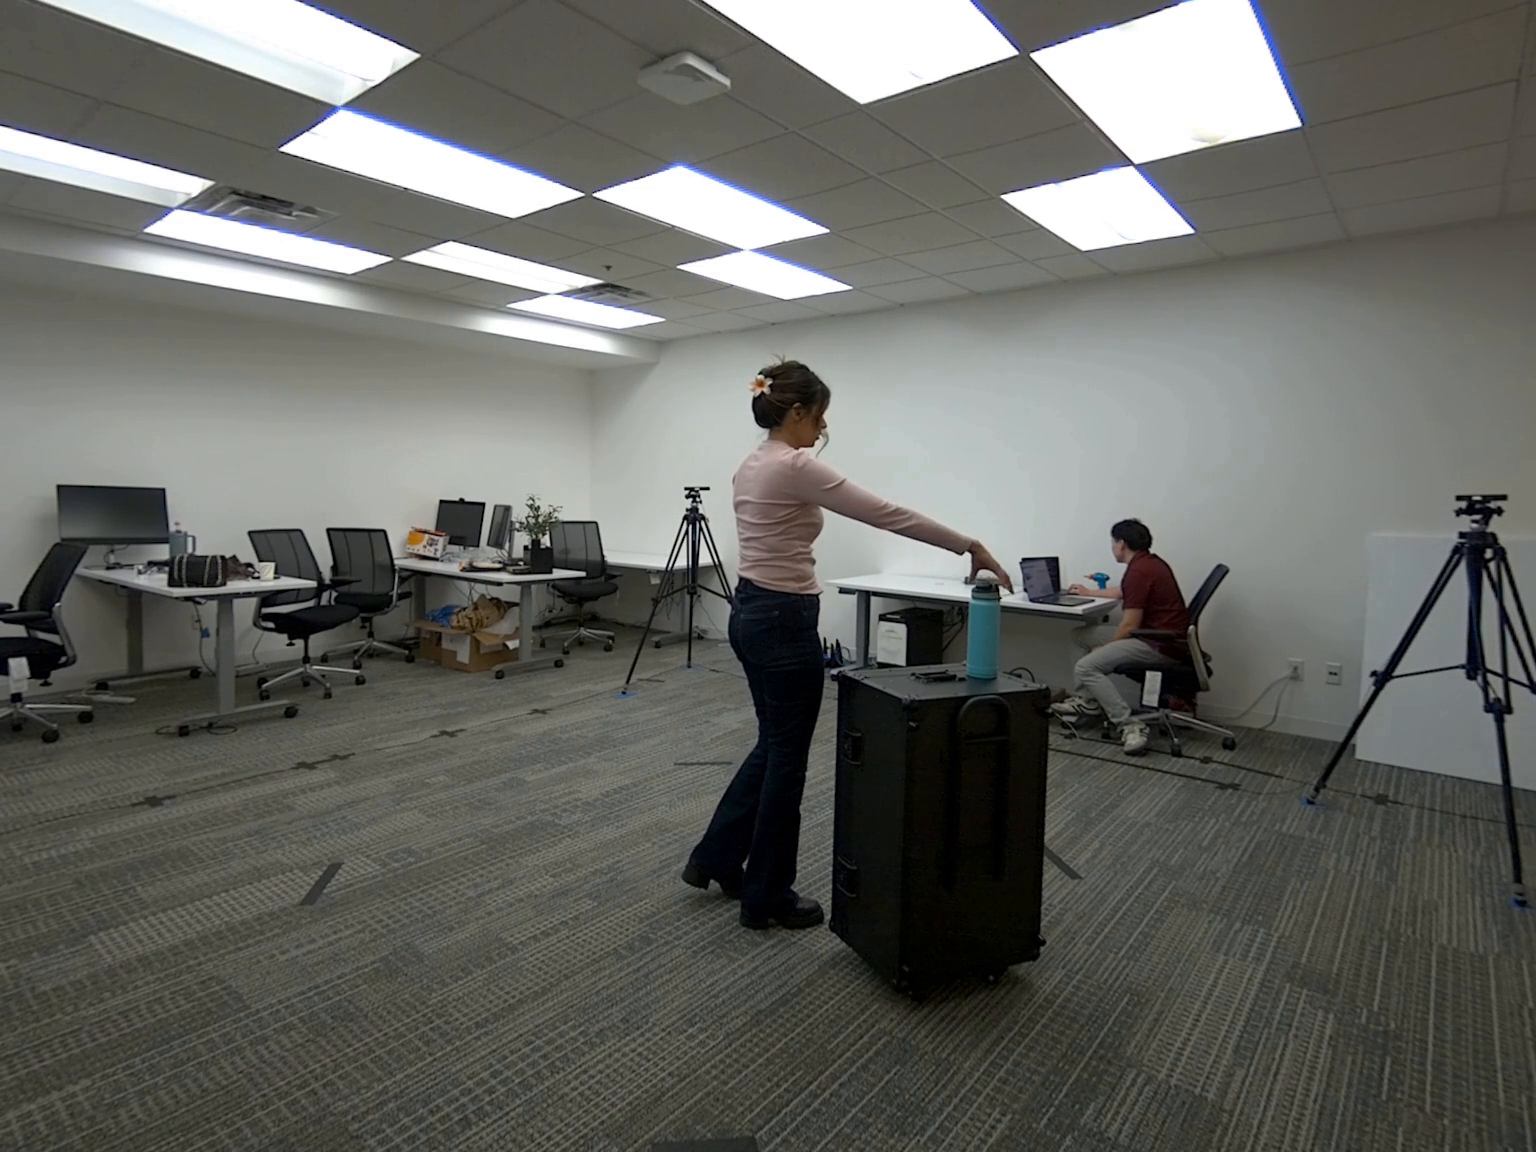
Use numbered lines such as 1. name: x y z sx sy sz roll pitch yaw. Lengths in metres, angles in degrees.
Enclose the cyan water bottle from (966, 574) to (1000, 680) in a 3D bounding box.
1. cyan water bottle: 0.632 0.154 2.508 0.092 0.282 0.093 3 4 -2
